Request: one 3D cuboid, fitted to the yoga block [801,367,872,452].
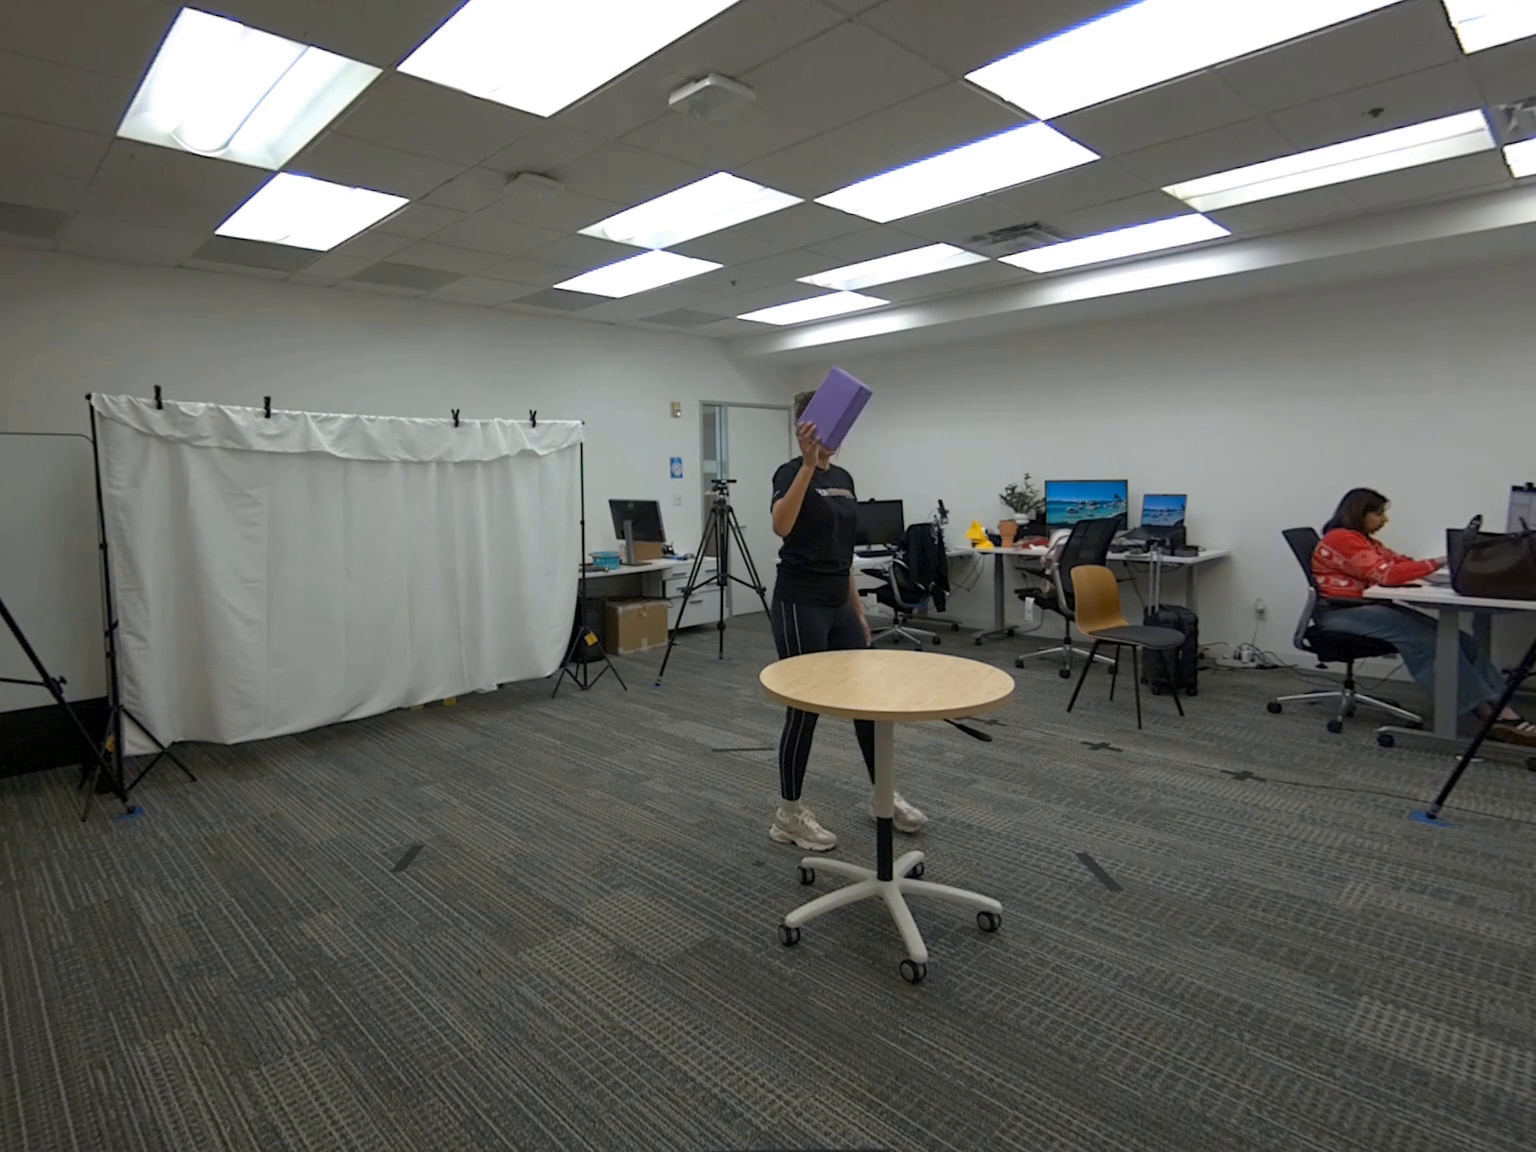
[{"bbox_3d":[0.218,-0.537,2.747,0.074,0.228,0.155,11,27,-51],"label":"yoga block"}]
